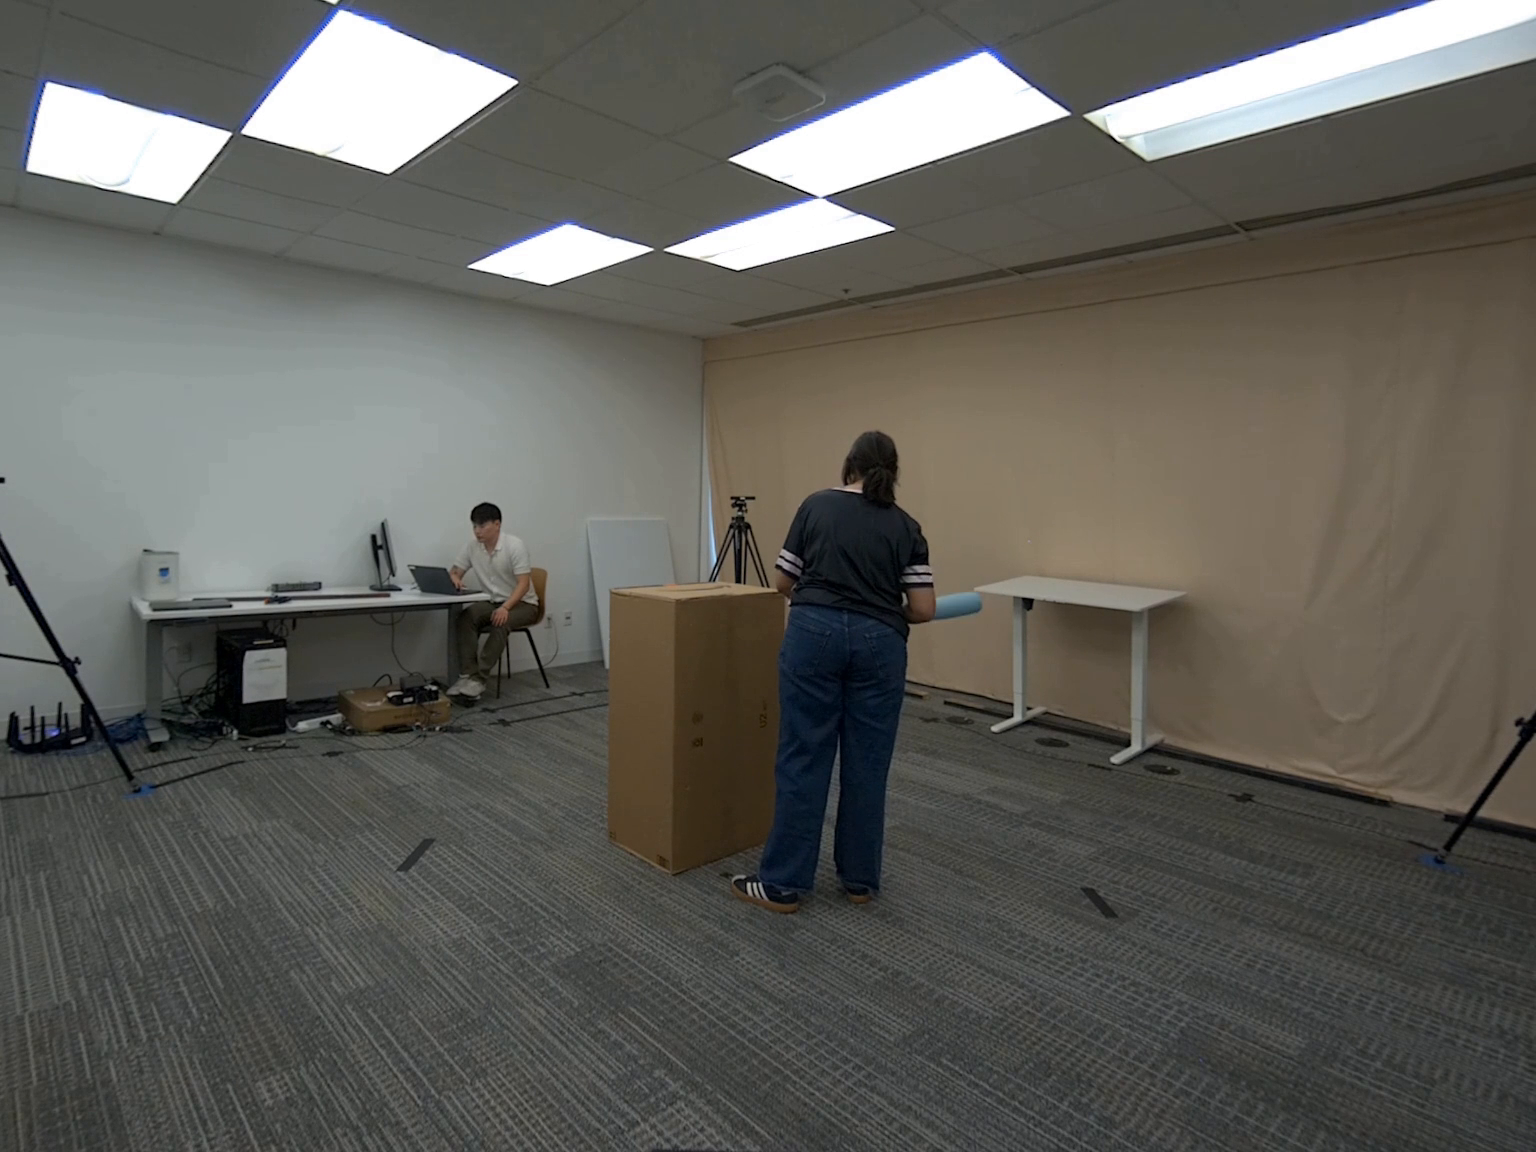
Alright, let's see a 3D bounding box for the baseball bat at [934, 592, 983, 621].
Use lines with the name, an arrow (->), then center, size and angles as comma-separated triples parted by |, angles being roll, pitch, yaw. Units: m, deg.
baseball bat -> 0.559, 0.145, 3.213 | 0.536, 0.088, 0.090 | -9, 7, -18
